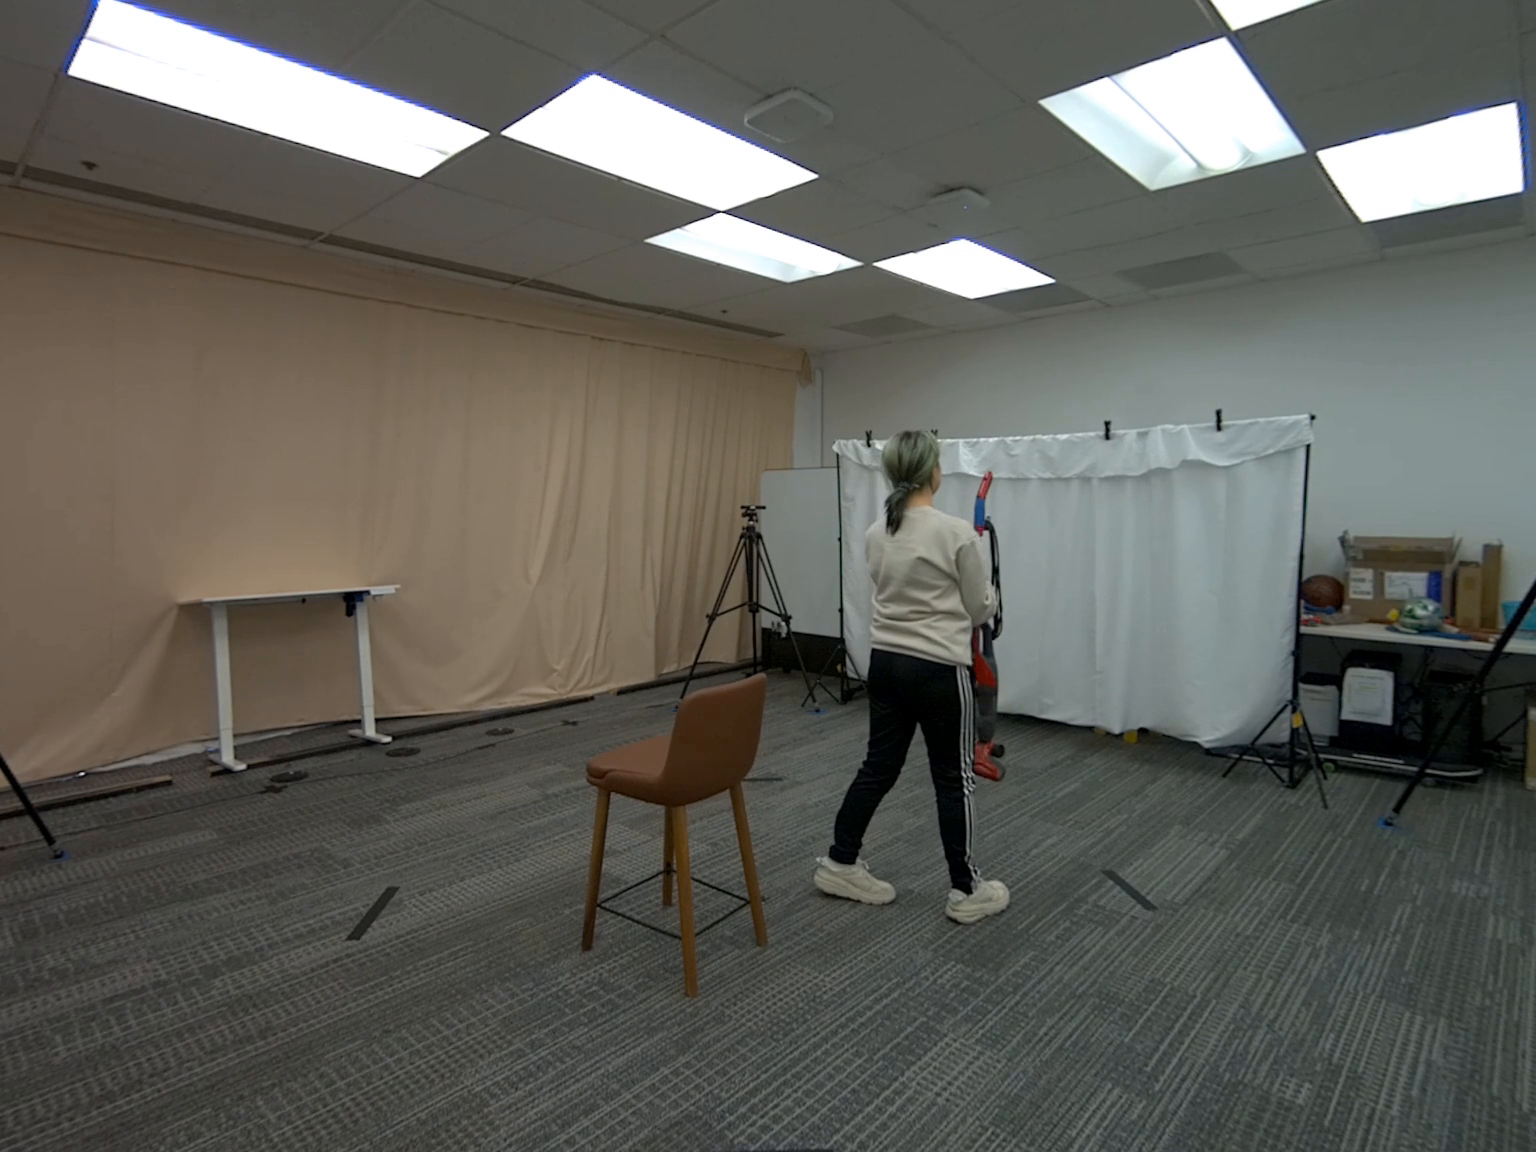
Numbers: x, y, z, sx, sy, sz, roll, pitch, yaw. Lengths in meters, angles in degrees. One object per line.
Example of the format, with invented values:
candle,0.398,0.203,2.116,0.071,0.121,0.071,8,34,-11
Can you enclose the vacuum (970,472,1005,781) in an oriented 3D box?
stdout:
vacuum,0.804,0.154,3.096,0.140,1.049,0.260,2,1,-33
